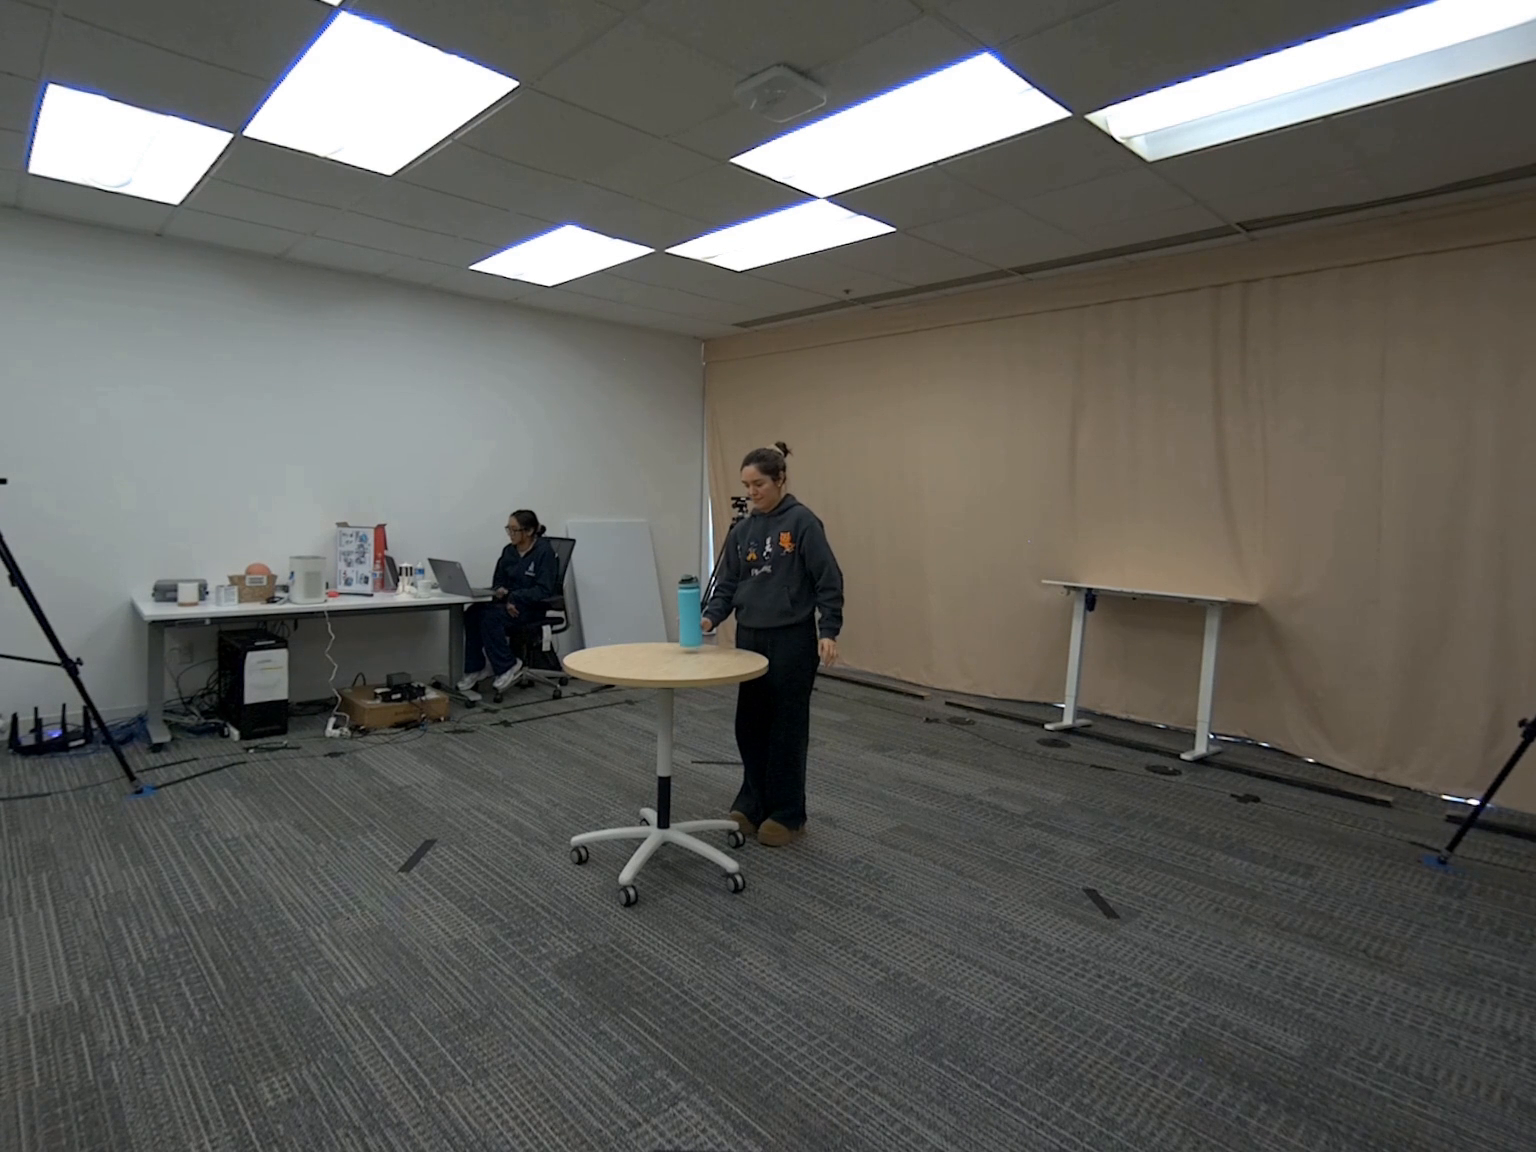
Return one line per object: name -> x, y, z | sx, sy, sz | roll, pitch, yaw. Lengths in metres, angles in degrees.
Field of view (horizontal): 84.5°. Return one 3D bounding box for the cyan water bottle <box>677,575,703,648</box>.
cyan water bottle -> -0.321, 0.130, 3.310 | 0.092, 0.283, 0.092 | -2, 2, -1
